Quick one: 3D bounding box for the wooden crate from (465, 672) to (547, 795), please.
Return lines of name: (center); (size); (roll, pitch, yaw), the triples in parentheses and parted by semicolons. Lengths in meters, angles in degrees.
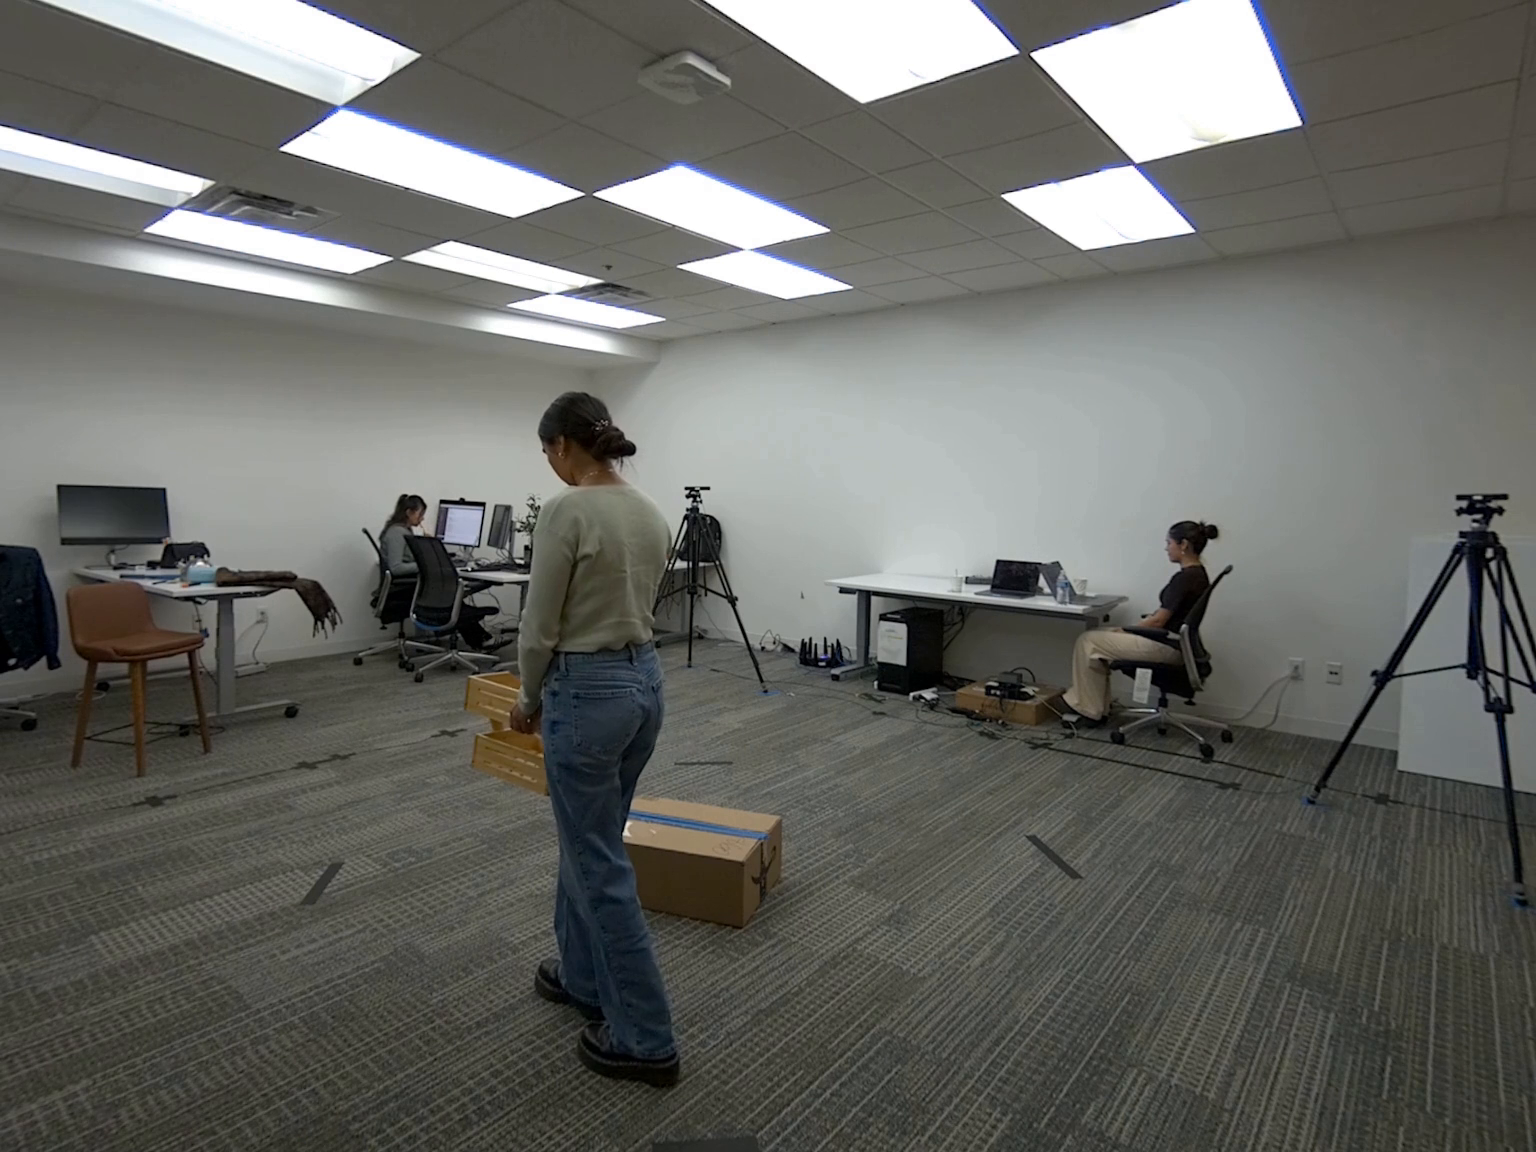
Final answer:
wooden crate: (-0.646, 0.418, 2.367); (0.335, 0.273, 0.293); (7, 2, 32)
